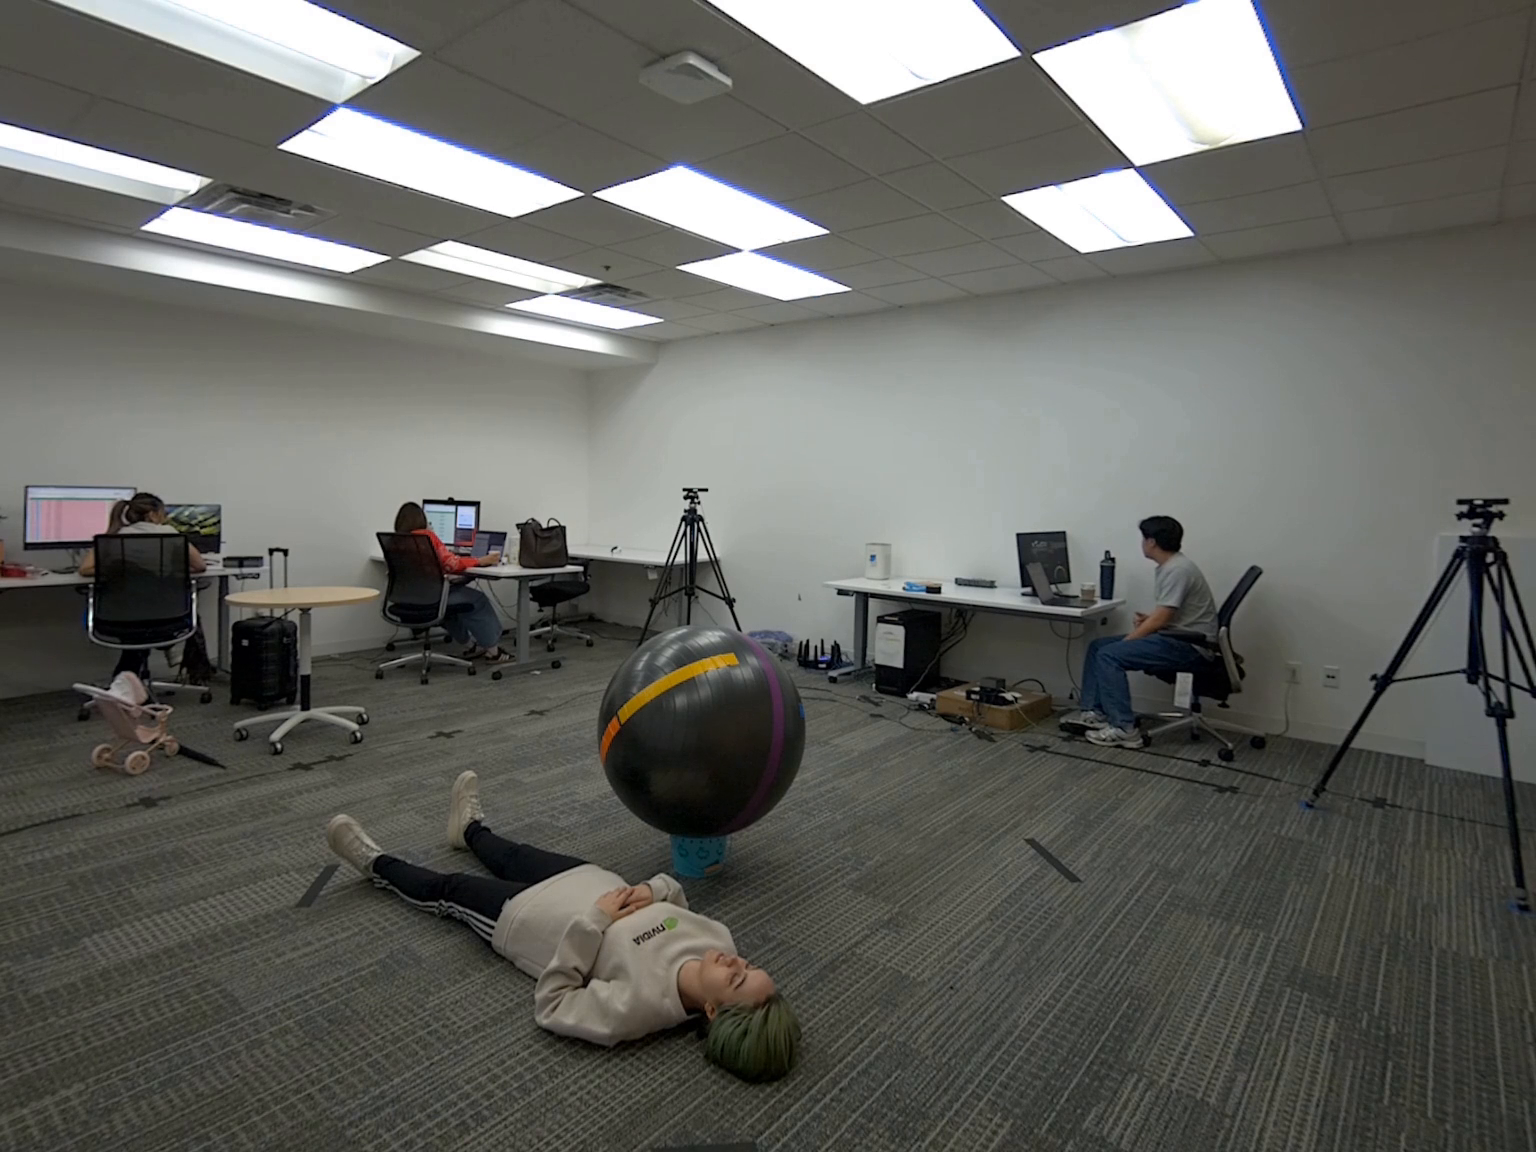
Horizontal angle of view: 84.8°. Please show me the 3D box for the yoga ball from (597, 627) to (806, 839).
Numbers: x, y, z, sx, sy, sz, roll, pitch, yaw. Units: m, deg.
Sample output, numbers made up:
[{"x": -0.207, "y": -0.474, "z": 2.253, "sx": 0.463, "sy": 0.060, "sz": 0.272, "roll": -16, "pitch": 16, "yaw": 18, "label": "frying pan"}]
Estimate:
[{"x": -0.255, "y": 0.556, "z": 3.105, "sx": 0.757, "sy": 0.755, "sz": 0.762, "roll": 1, "pitch": 4, "yaw": -2, "label": "yoga ball"}]
